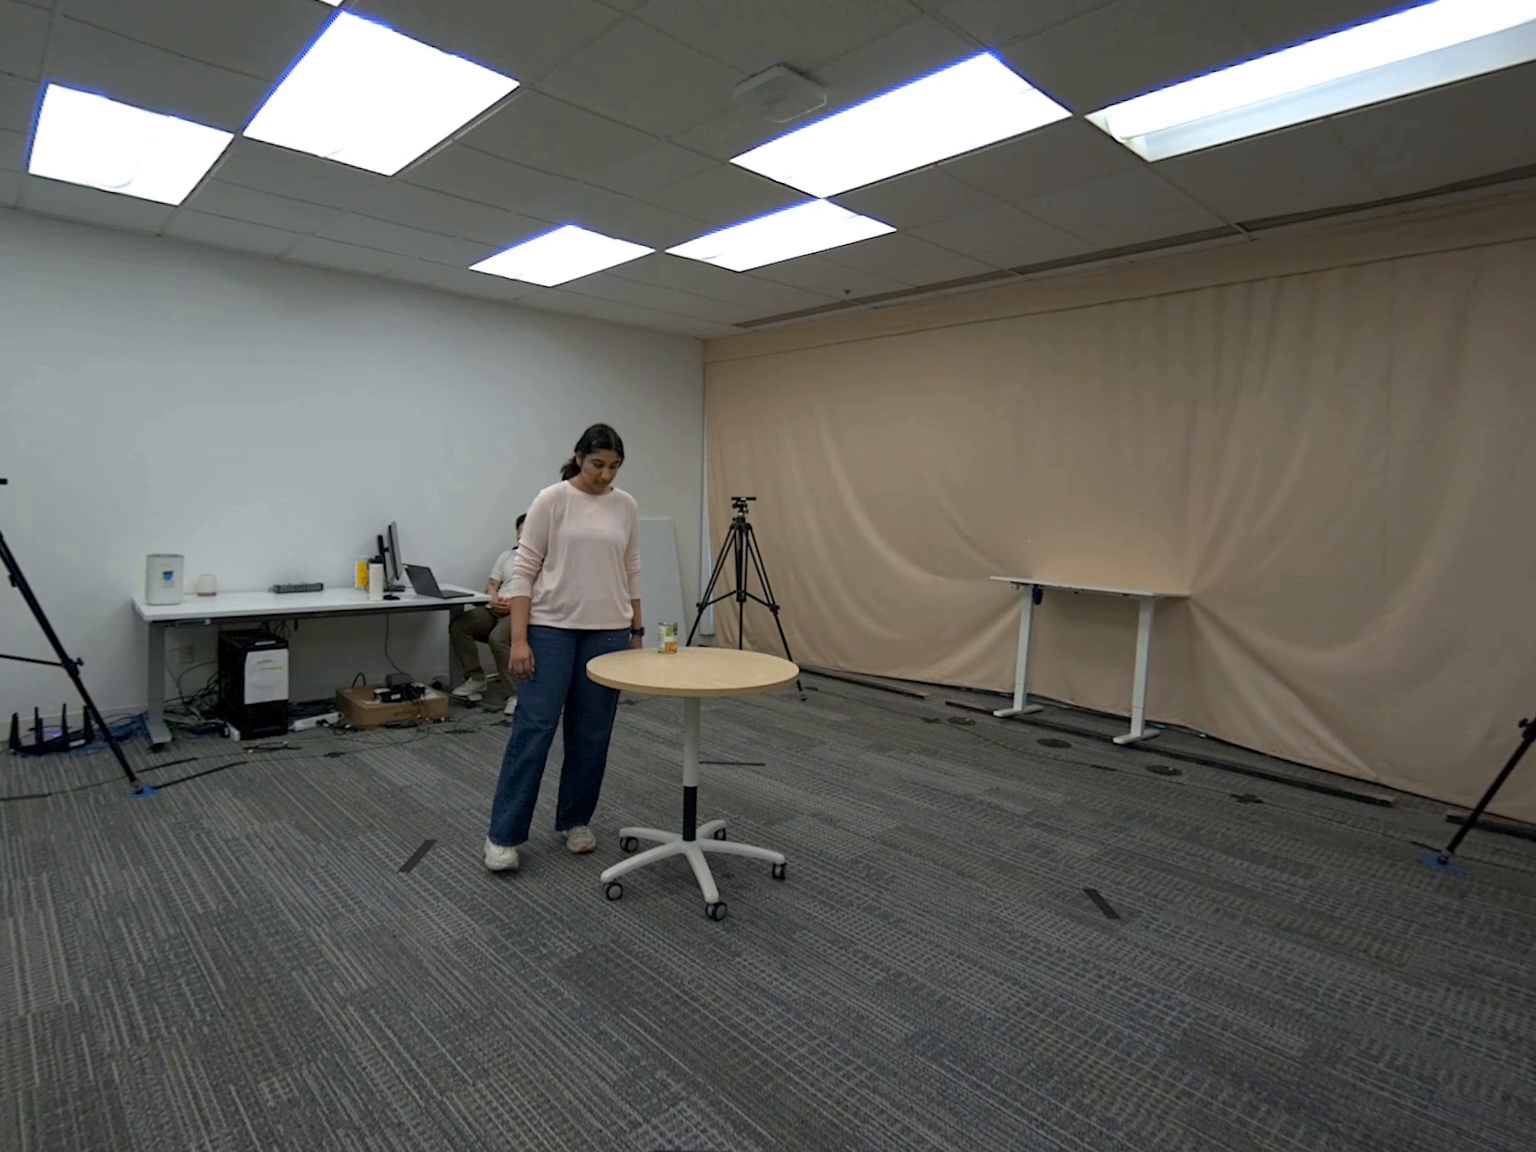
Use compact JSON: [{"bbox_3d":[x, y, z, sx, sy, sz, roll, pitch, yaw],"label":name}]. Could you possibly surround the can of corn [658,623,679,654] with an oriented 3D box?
[{"bbox_3d":[-0.400,0.244,3.284,0.074,0.111,0.074,-2,2,-1],"label":"can of corn"}]
